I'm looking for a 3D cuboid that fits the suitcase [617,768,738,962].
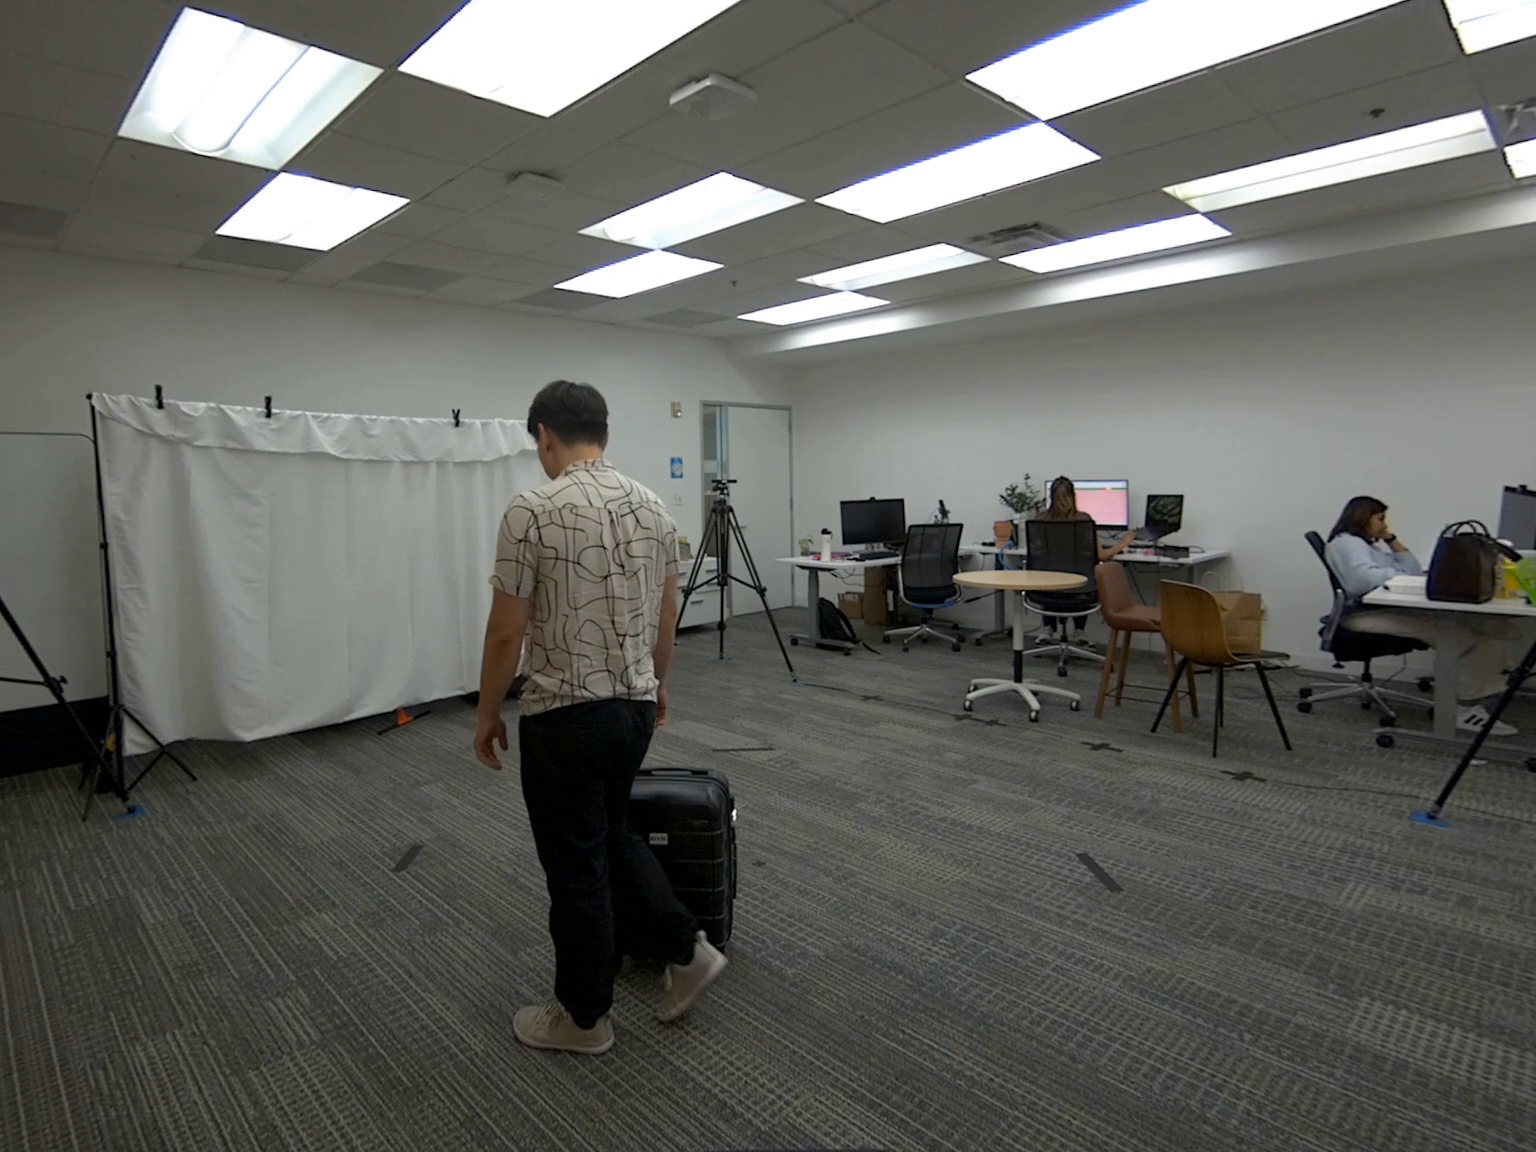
[{"bbox_3d":[-0.279,0.848,2.501,0.378,0.547,0.248,1,5,6],"label":"suitcase"}]
